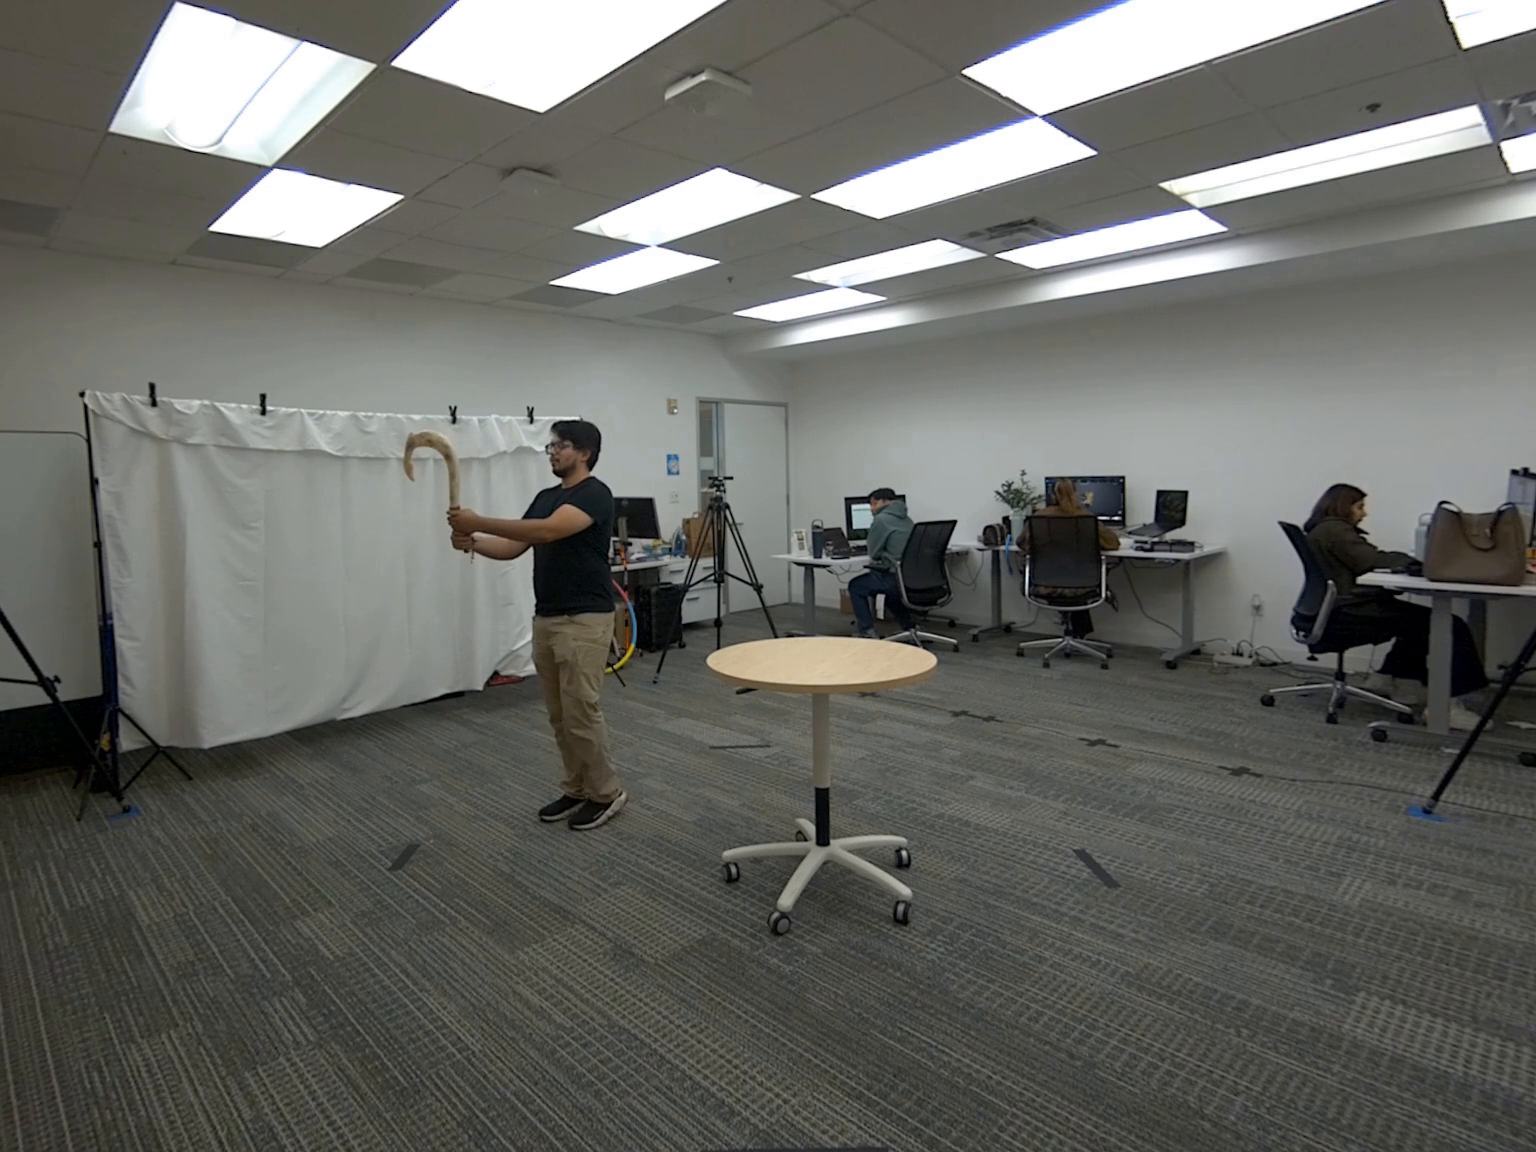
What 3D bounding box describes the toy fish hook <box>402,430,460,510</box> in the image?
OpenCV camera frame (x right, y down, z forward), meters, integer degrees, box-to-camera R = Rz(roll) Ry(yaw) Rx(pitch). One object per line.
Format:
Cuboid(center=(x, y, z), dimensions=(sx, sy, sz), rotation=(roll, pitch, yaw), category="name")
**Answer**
Cuboid(center=(-1.252, -0.312, 3.258), dimensions=(0.227, 0.496, 0.048), rotation=(-4, 21, 15), category="toy fish hook")
